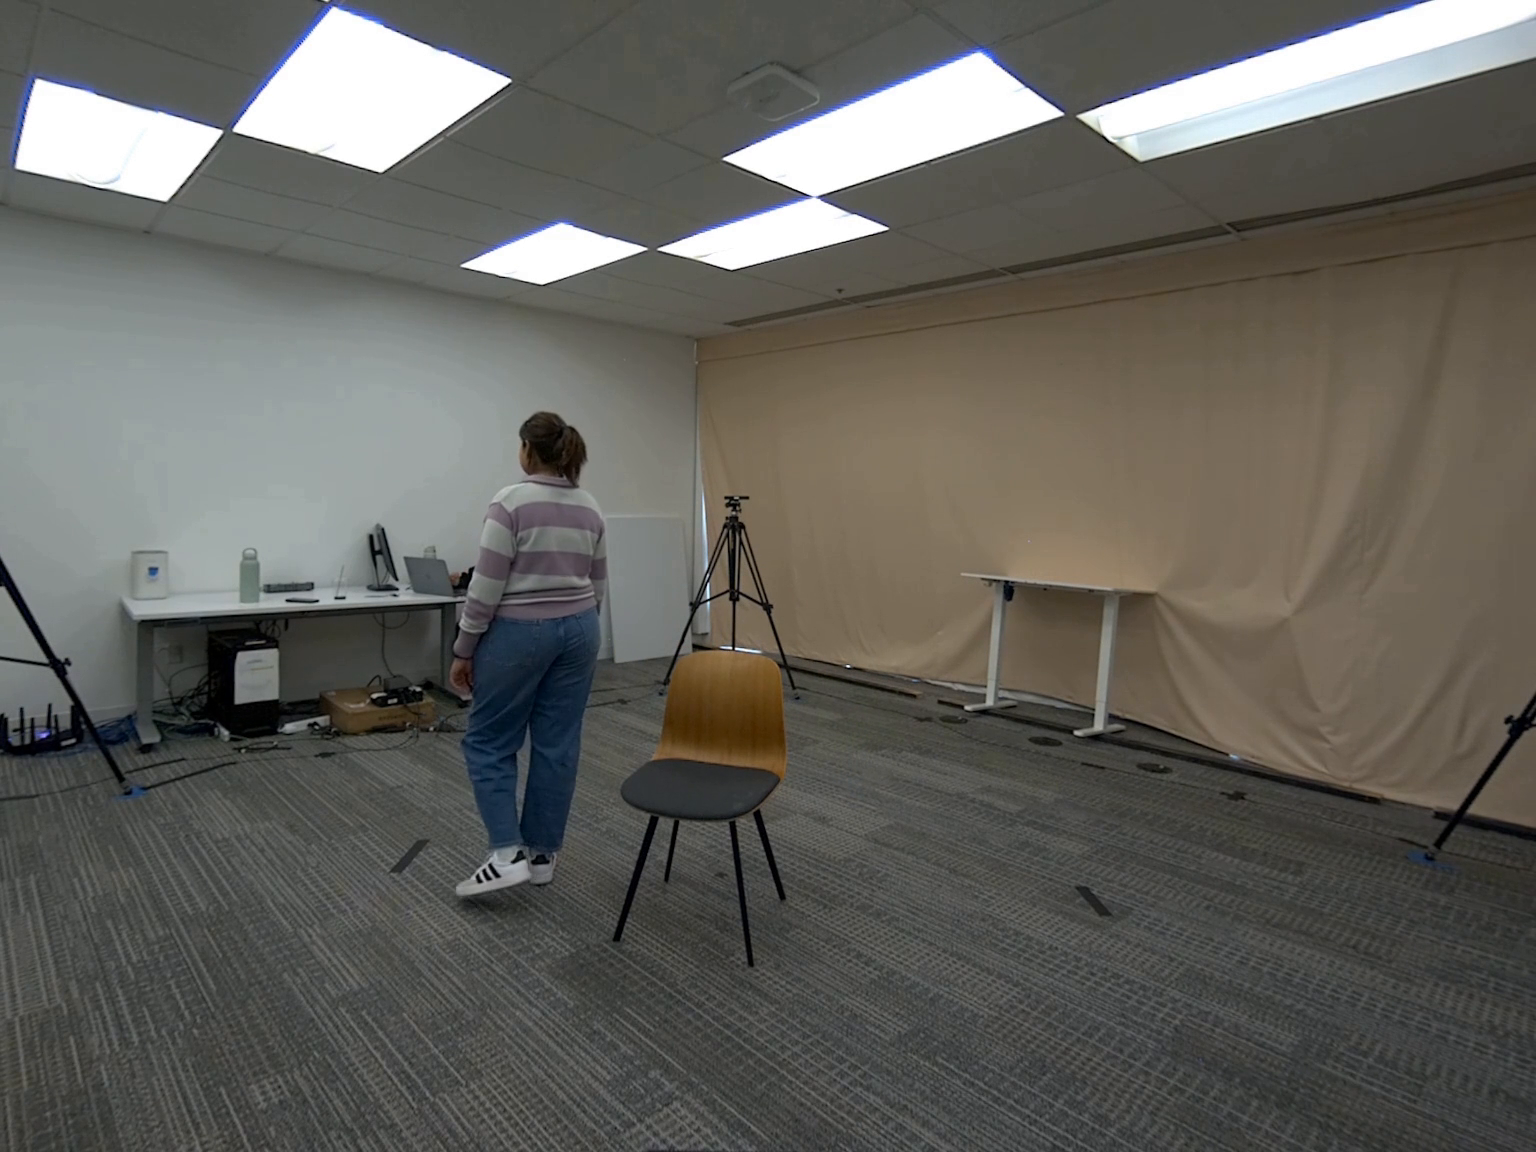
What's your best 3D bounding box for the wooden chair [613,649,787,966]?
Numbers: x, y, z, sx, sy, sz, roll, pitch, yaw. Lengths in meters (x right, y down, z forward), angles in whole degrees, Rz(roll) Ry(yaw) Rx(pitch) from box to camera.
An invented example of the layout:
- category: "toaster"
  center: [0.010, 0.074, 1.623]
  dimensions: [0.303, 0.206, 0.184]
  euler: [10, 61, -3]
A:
- category: "wooden chair"
  center: [-0.205, 0.711, 2.730]
  dimensions: [0.484, 0.877, 0.516]
  euler: [2, 0, 15]
